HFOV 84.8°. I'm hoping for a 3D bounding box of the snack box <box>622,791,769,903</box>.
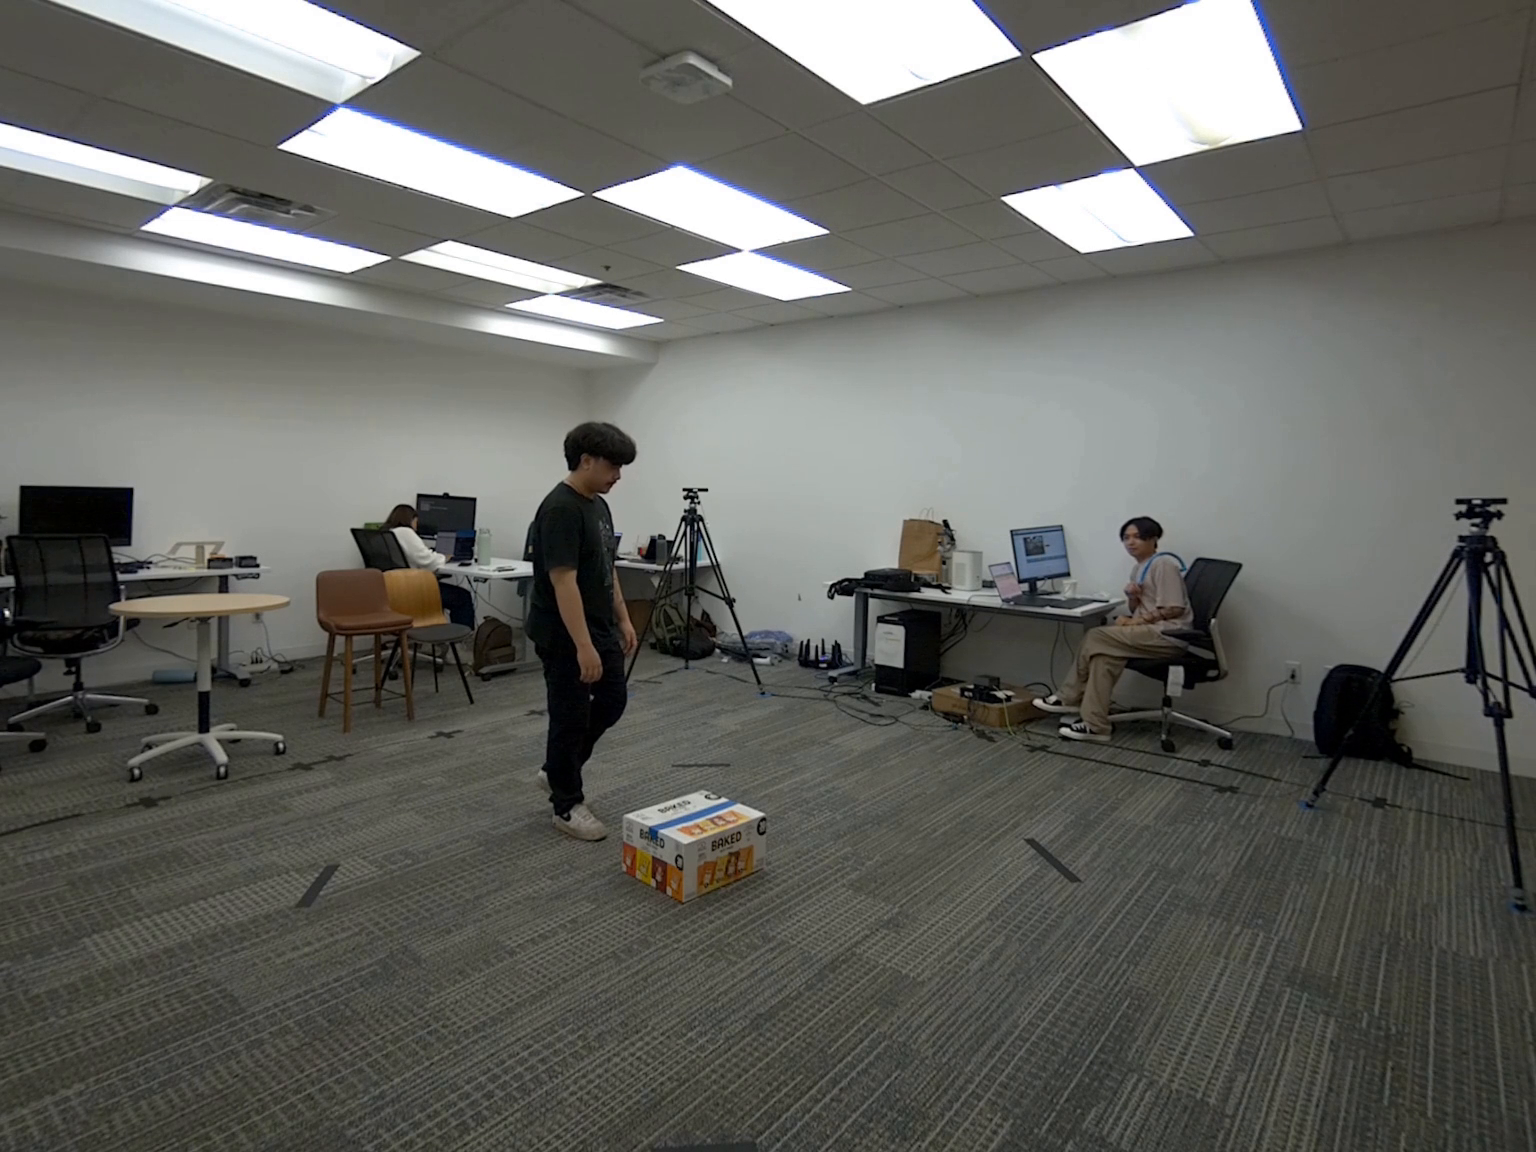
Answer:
[{"bbox_3d":[-0.276,0.968,3.097,0.352,0.205,0.393,6,7,44],"label":"snack box"}]
